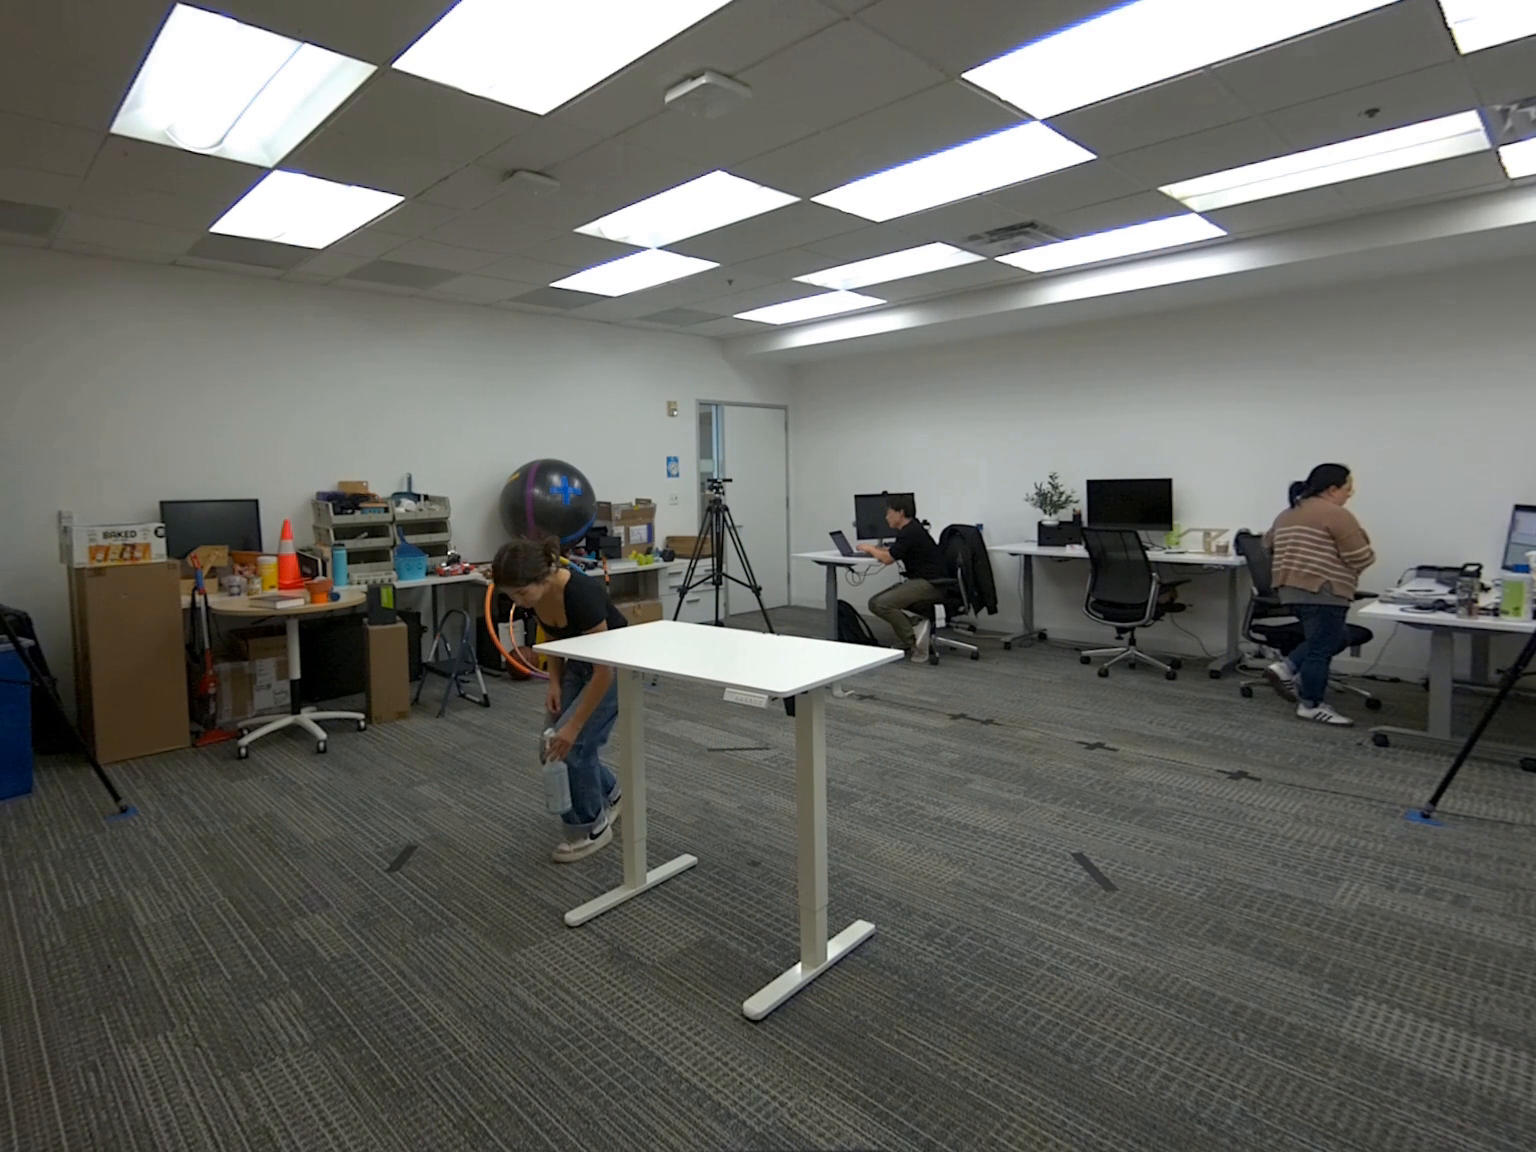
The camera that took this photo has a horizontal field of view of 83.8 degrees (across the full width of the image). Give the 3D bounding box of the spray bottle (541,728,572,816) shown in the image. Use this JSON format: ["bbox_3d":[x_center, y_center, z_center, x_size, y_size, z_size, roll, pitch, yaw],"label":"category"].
[{"bbox_3d":[-0.750,0.679,2.979,0.089,0.296,0.088,-3,6,26],"label":"spray bottle"}]
